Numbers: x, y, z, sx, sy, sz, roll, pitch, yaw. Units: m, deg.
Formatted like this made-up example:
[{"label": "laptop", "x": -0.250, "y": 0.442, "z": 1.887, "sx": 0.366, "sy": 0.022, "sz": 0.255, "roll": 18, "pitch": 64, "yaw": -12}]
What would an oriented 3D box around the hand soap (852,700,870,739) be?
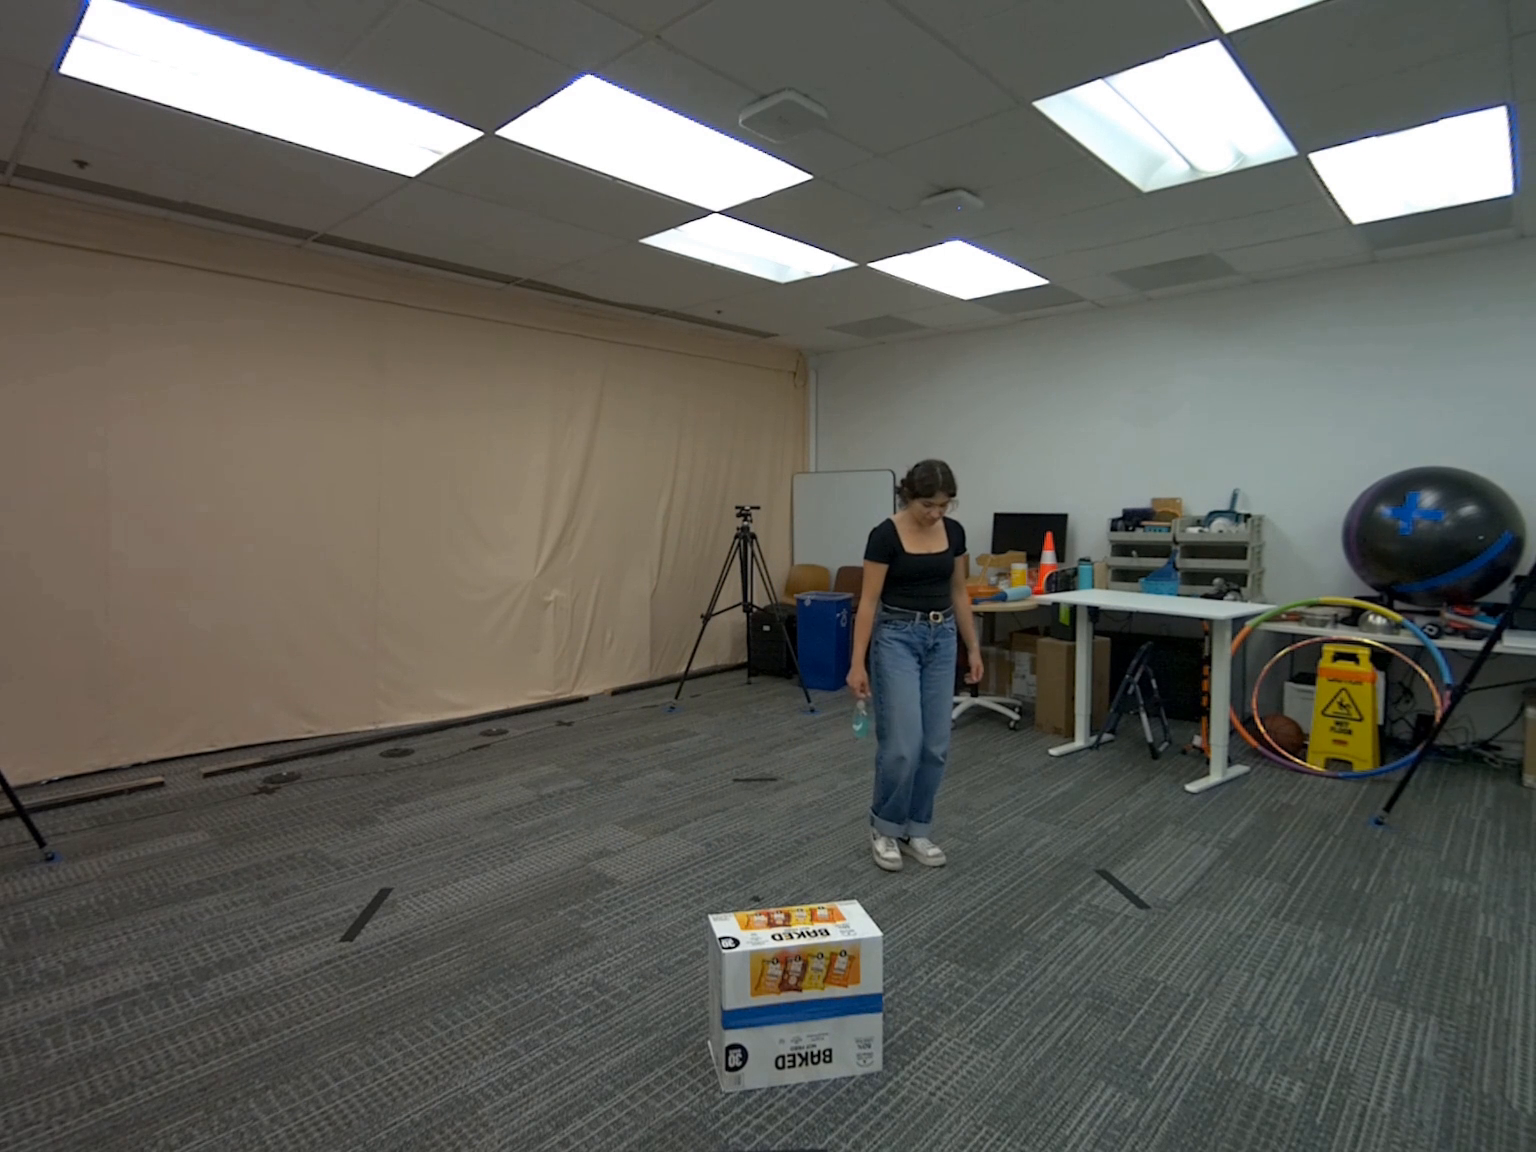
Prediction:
[{"label": "hand soap", "x": 0.356, "y": 0.539, "z": 3.235, "sx": 0.042, "sy": 0.167, "sz": 0.087, "roll": 2, "pitch": 6, "yaw": -28}]
